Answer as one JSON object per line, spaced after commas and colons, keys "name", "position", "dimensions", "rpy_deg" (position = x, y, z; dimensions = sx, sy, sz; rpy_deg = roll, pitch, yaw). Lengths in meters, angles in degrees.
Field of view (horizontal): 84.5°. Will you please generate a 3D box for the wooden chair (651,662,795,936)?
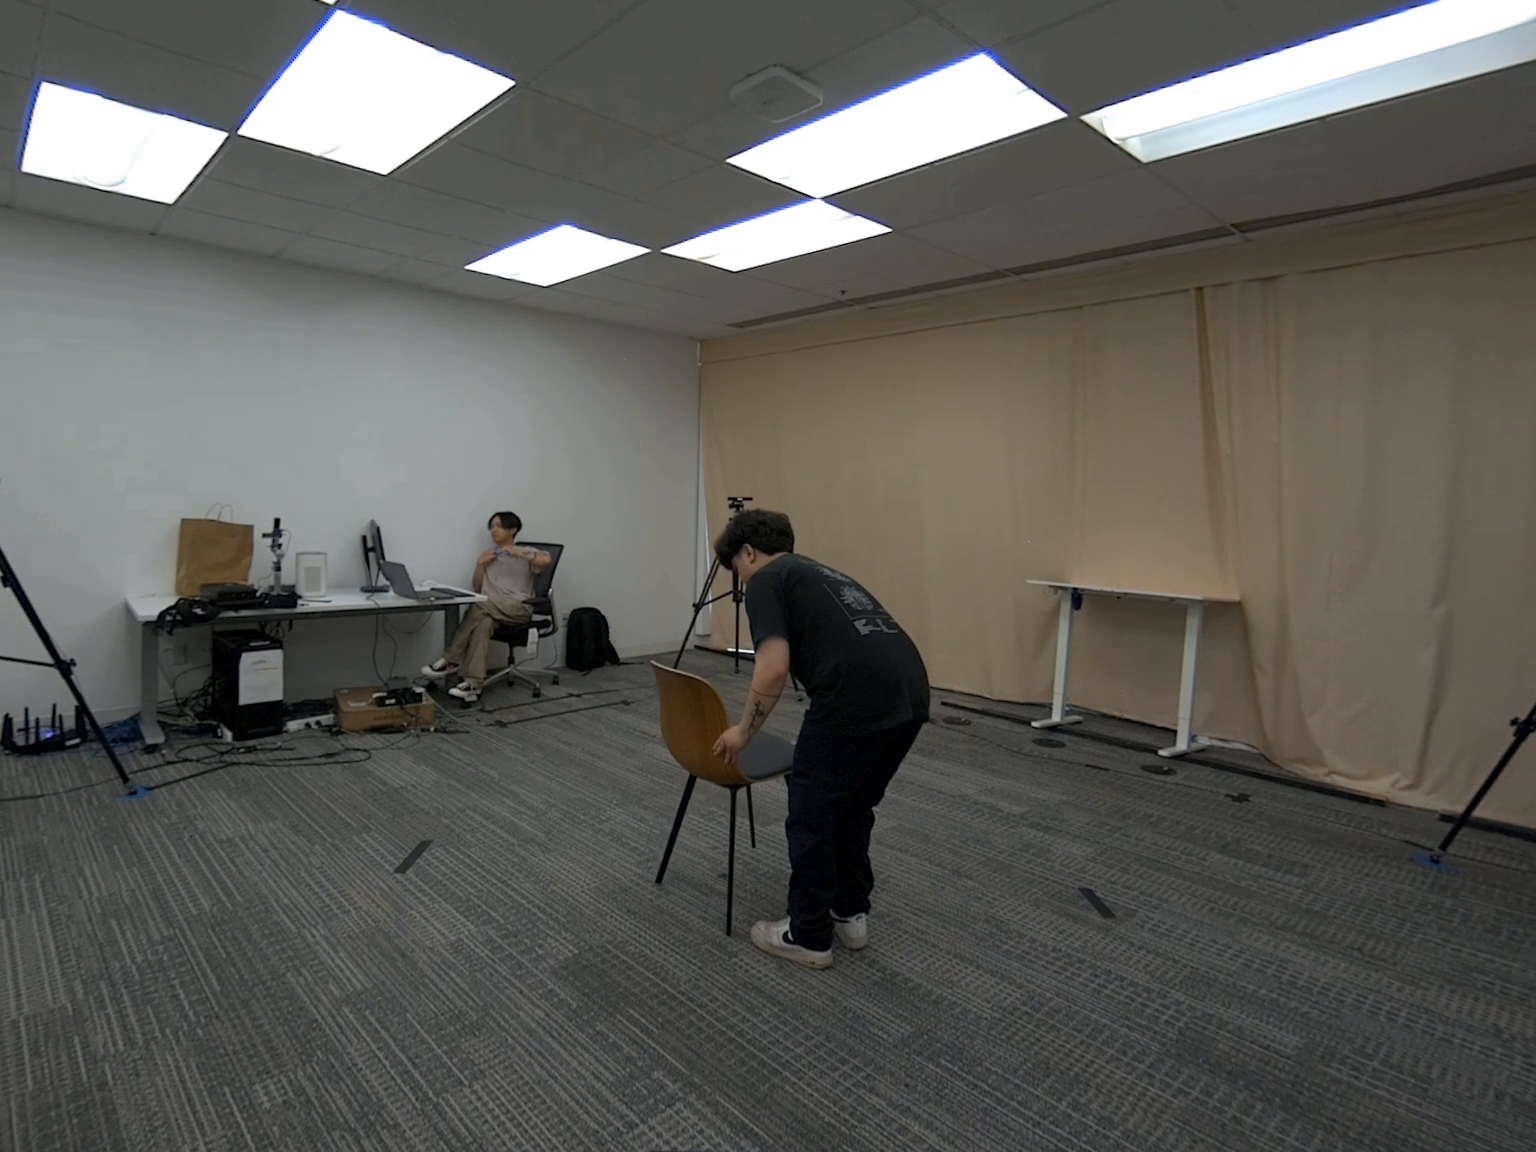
{"name": "wooden chair", "position": [-0.099, 0.676, 2.949], "dimensions": [0.513, 0.872, 0.490], "rpy_deg": [-11, 10, -37]}
